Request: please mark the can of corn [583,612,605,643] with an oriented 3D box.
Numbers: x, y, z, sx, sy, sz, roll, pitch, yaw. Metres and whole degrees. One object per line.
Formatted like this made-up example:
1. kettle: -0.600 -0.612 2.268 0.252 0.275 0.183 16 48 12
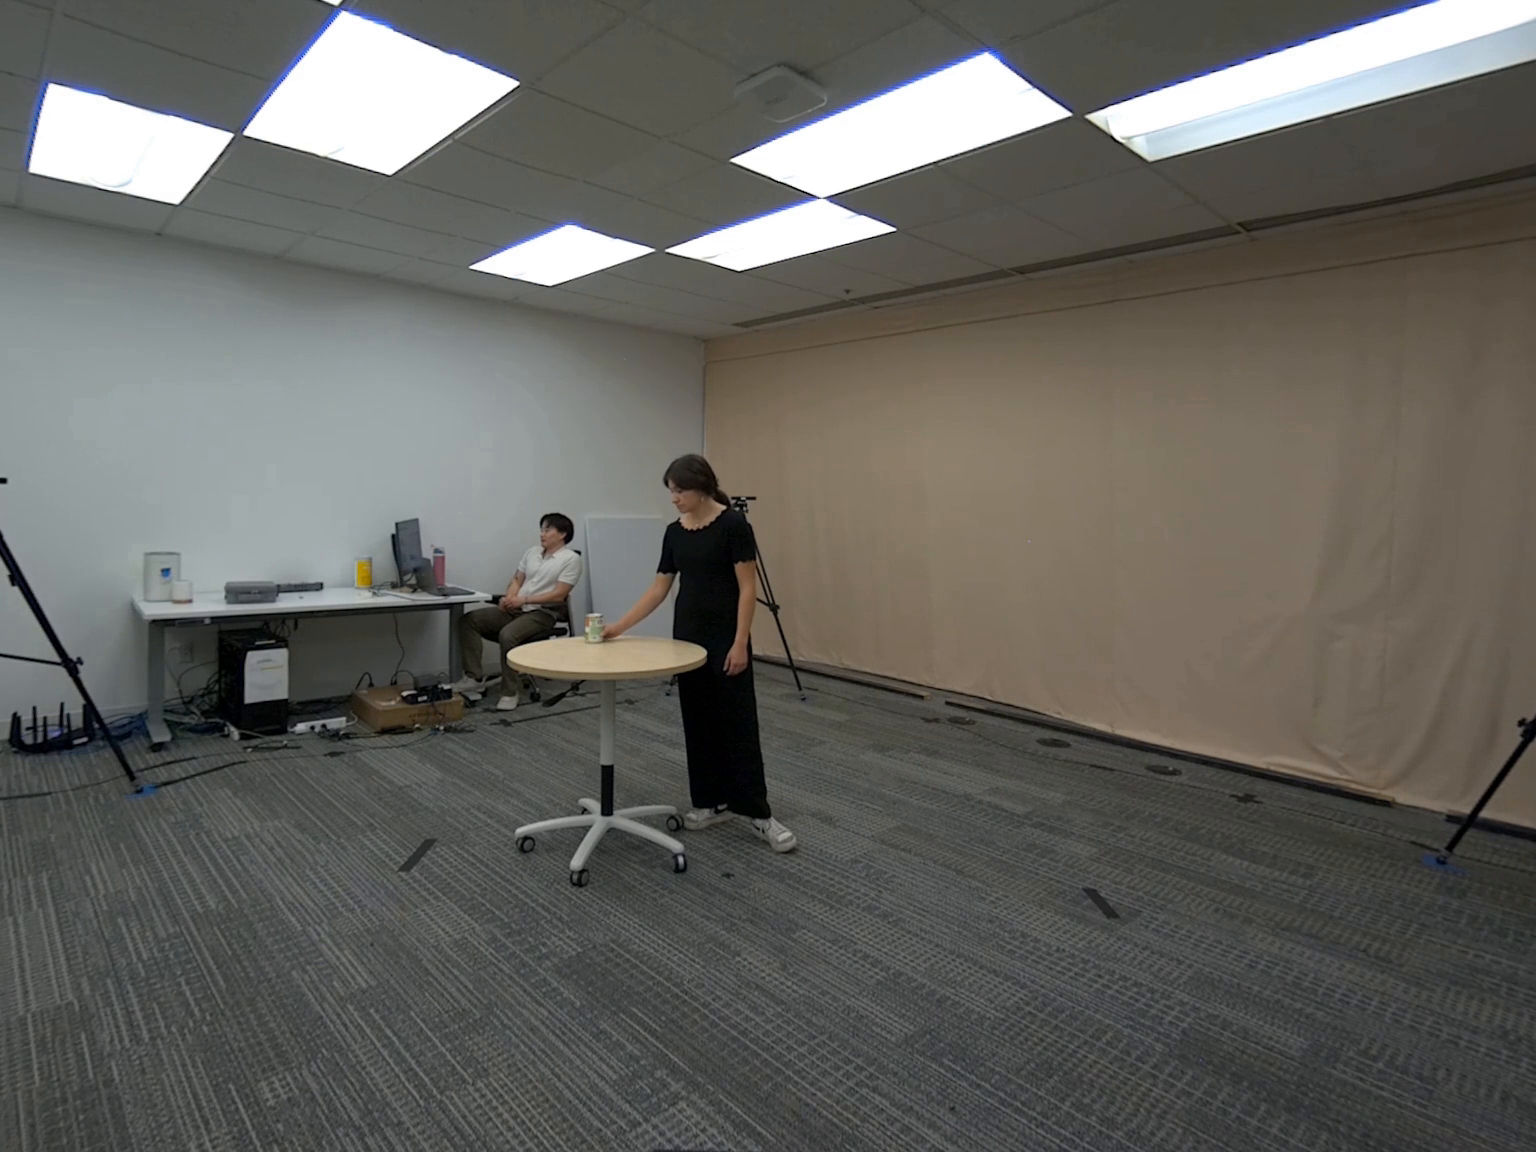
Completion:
1. can of corn: -0.723 0.217 3.480 0.074 0.111 0.074 -1 2 -1
